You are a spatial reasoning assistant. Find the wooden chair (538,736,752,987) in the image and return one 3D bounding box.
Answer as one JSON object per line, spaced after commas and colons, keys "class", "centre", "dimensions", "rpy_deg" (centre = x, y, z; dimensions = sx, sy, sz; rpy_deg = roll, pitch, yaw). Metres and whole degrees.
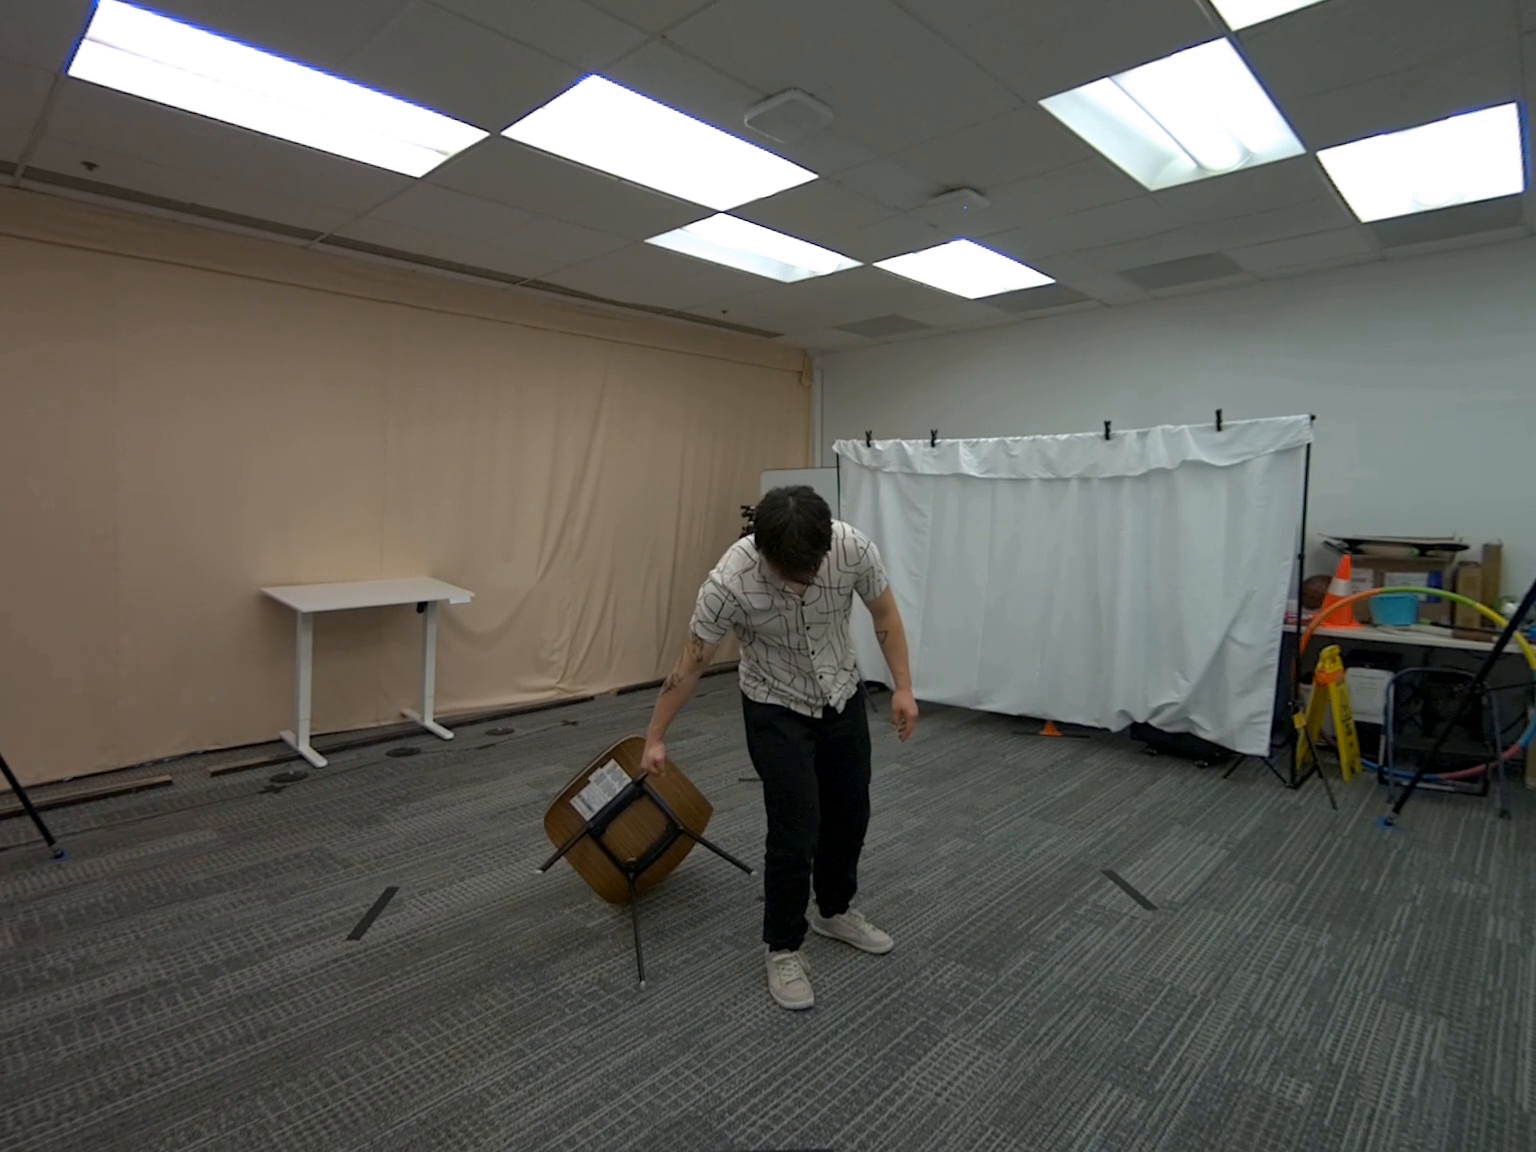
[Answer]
{"class": "wooden chair", "centre": [-0.443, 0.843, 2.790], "dimensions": [0.476, 0.521, 0.883], "rpy_deg": [-43, 4, -9]}
